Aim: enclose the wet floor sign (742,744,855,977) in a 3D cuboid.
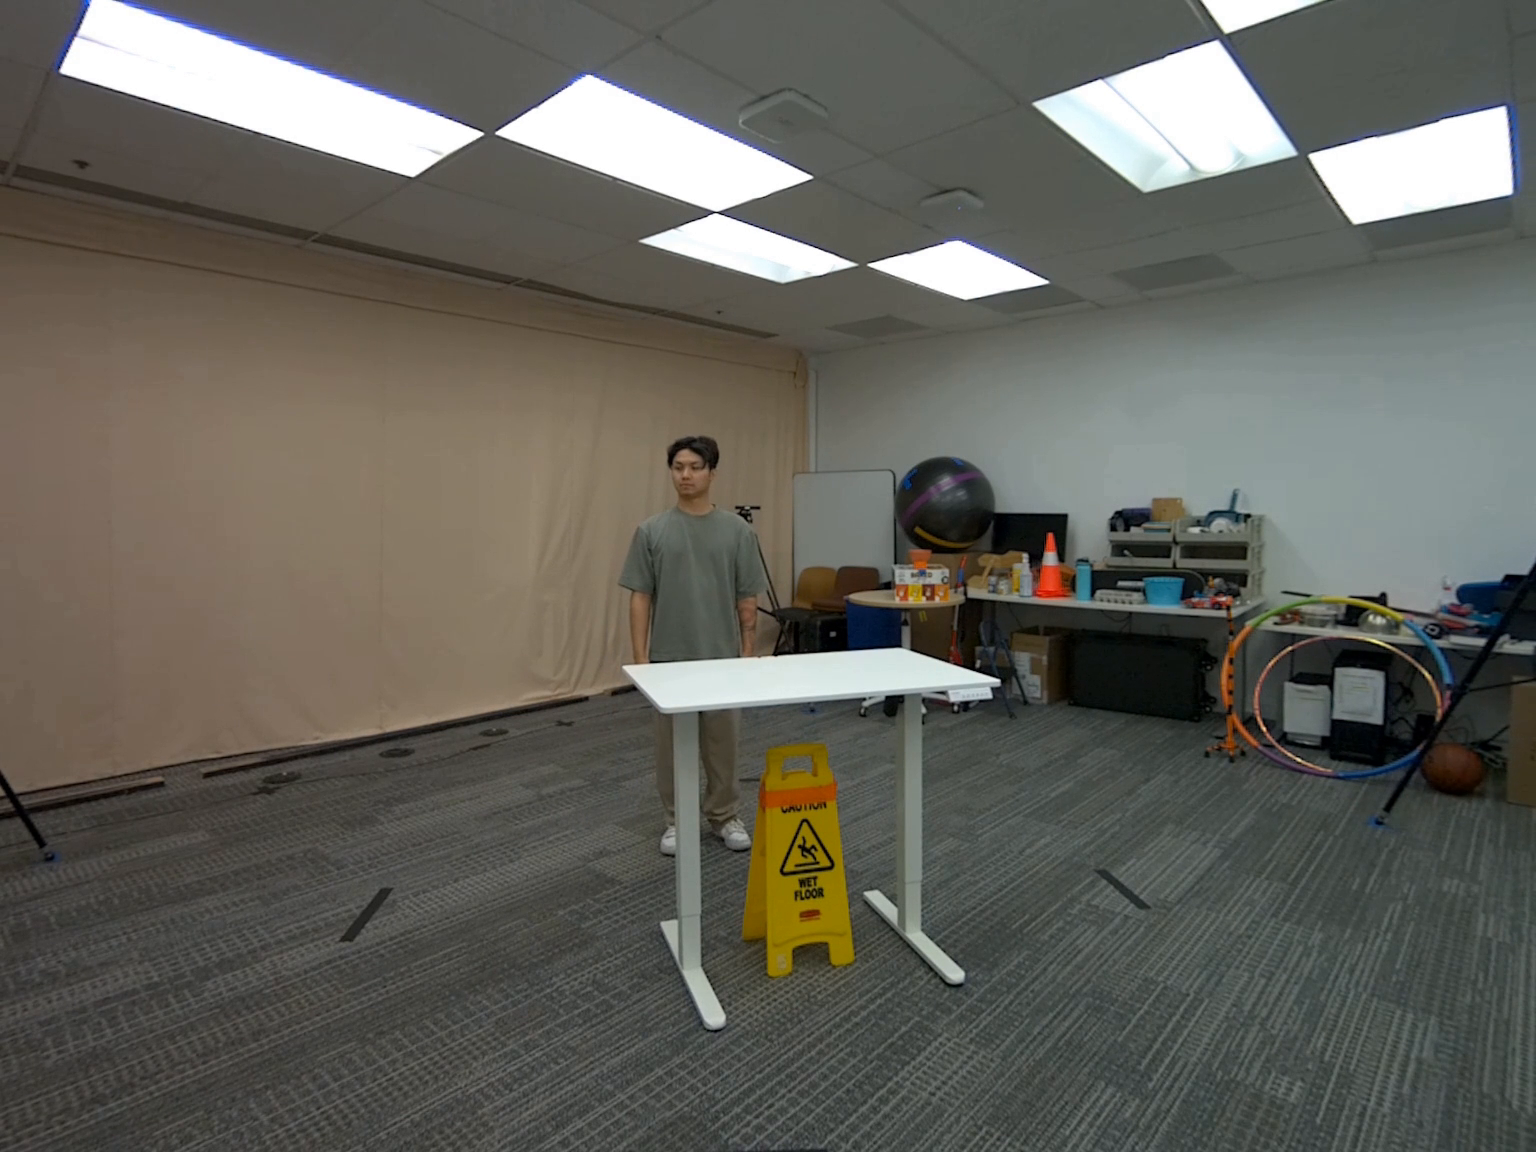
[{"bbox_3d":[0.087,0.861,2.603,0.277,0.644,0.296,-3,5,-18],"label":"wet floor sign"}]
